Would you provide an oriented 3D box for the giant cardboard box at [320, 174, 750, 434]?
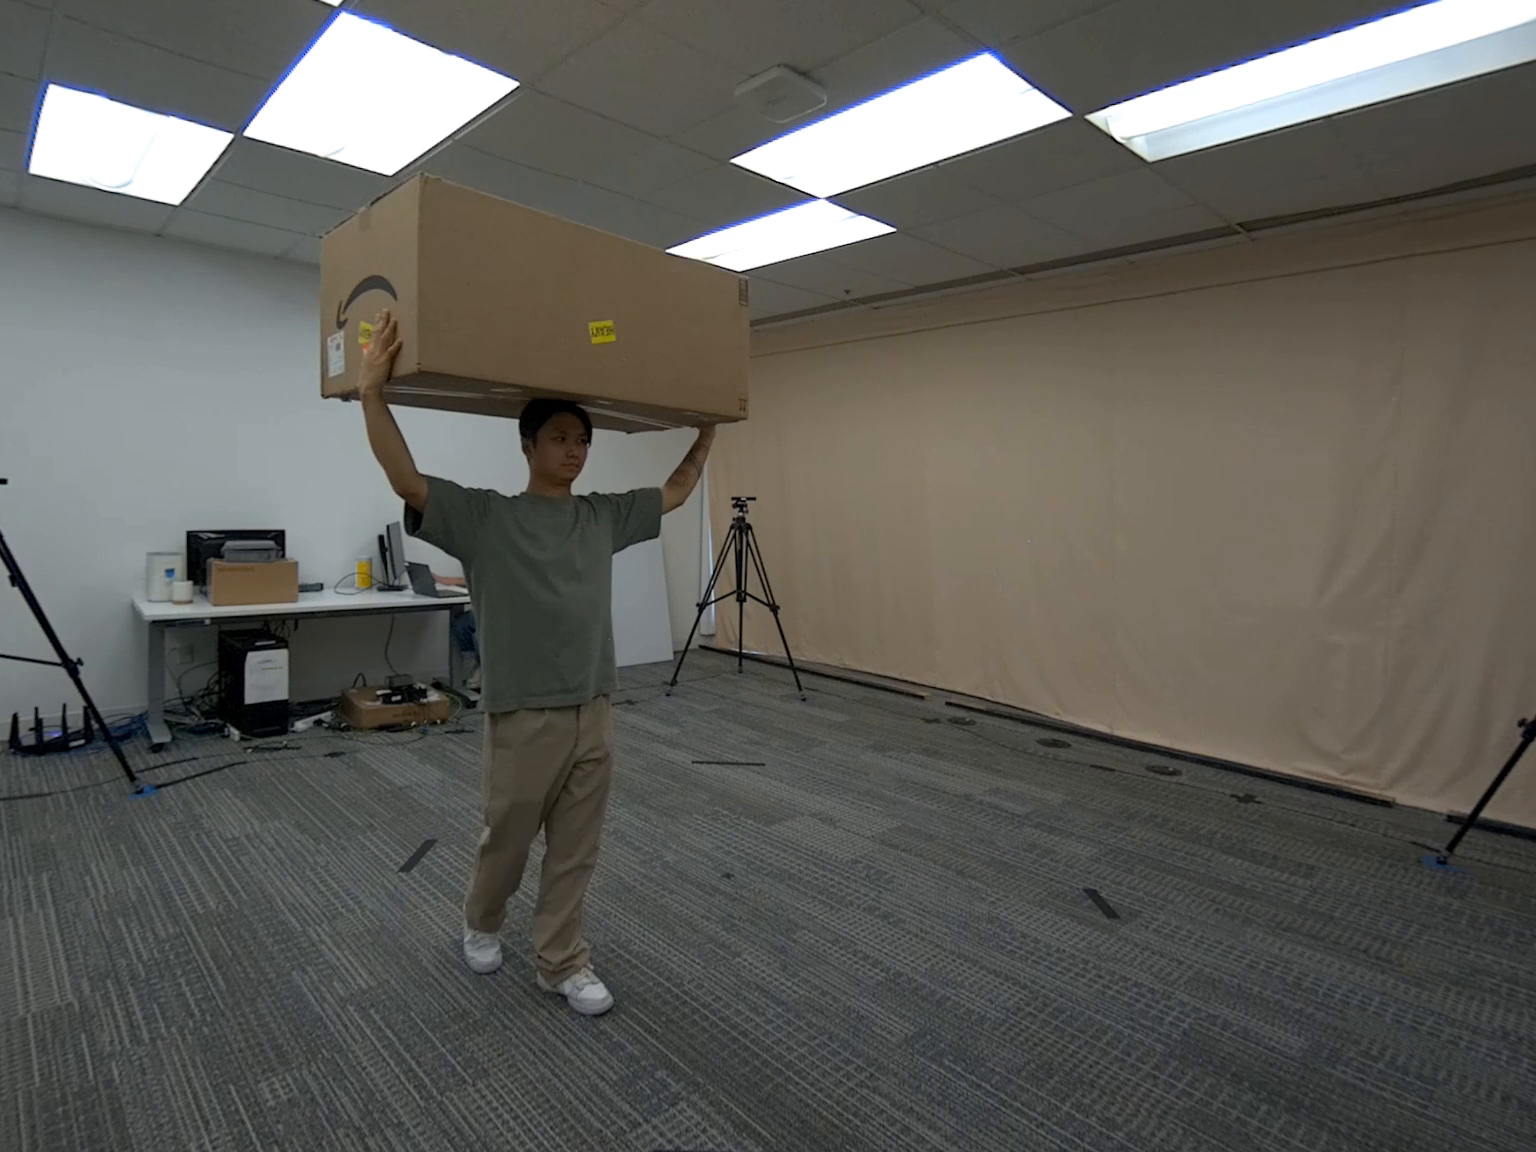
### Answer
[{"bbox_3d":[-0.611,-0.669,2.339,0.592,0.425,1.002,3,4,43],"label":"giant cardboard box"}]
